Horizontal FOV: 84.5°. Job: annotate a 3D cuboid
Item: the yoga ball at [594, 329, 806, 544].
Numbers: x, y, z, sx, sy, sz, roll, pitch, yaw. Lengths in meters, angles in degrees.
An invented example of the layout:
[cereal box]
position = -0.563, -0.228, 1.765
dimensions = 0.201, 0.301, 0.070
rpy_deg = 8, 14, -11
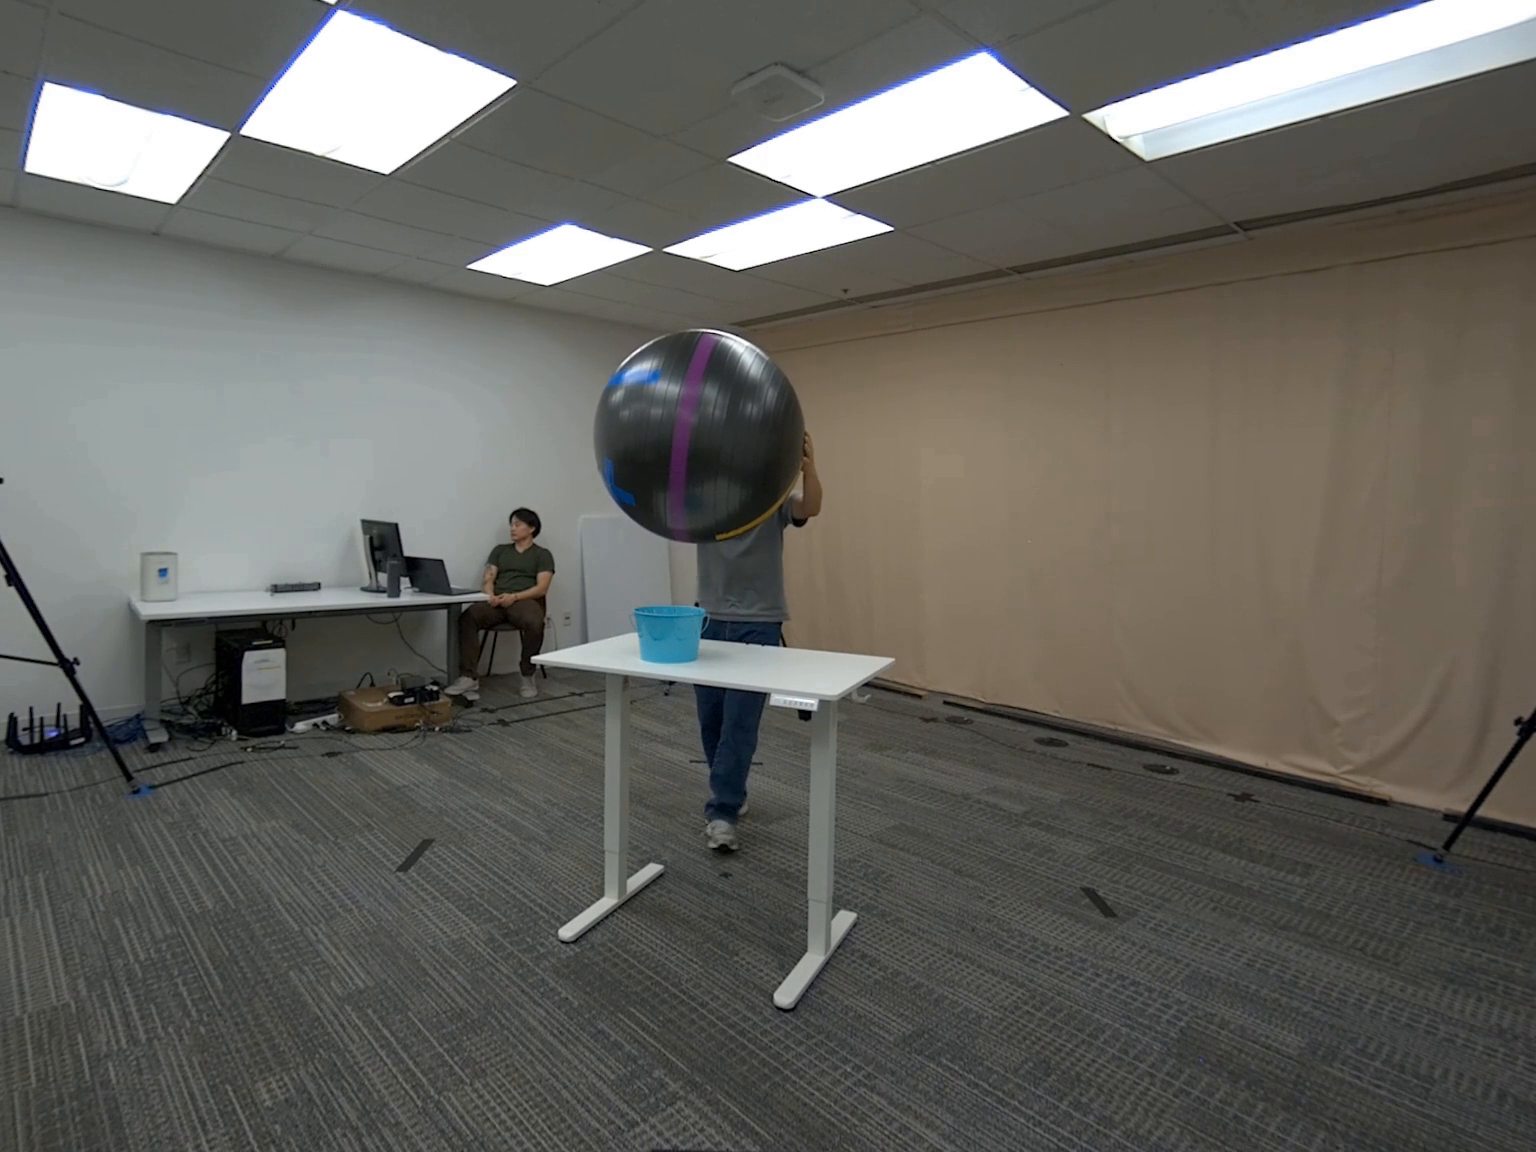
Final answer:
[yoga ball]
position = -0.246, -0.491, 3.030
dimensions = 0.757, 0.756, 0.761
rpy_deg = 1, 4, -1
